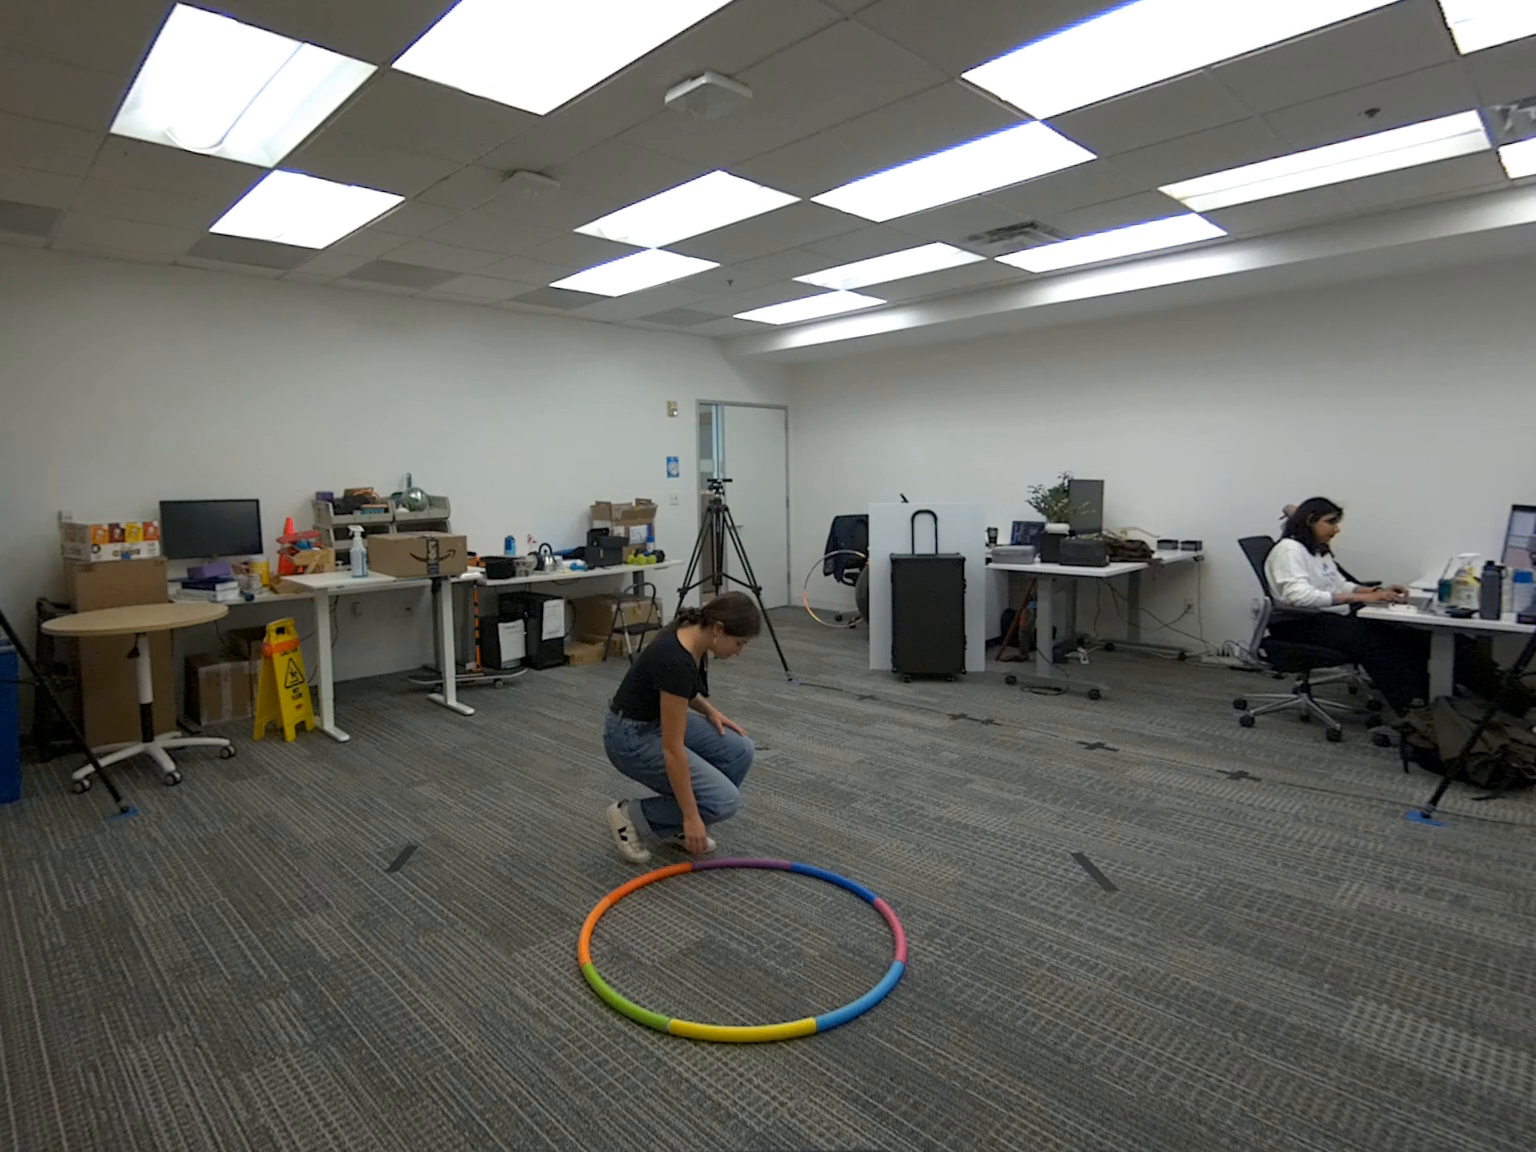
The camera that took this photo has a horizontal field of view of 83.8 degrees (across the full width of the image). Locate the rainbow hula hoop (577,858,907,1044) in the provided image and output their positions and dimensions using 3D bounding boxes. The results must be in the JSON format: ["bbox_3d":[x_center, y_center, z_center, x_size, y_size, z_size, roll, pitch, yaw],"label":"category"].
[{"bbox_3d":[-0.076,1.077,2.613,0.978,0.035,0.984,-2,7,-2],"label":"rainbow hula hoop"}]
